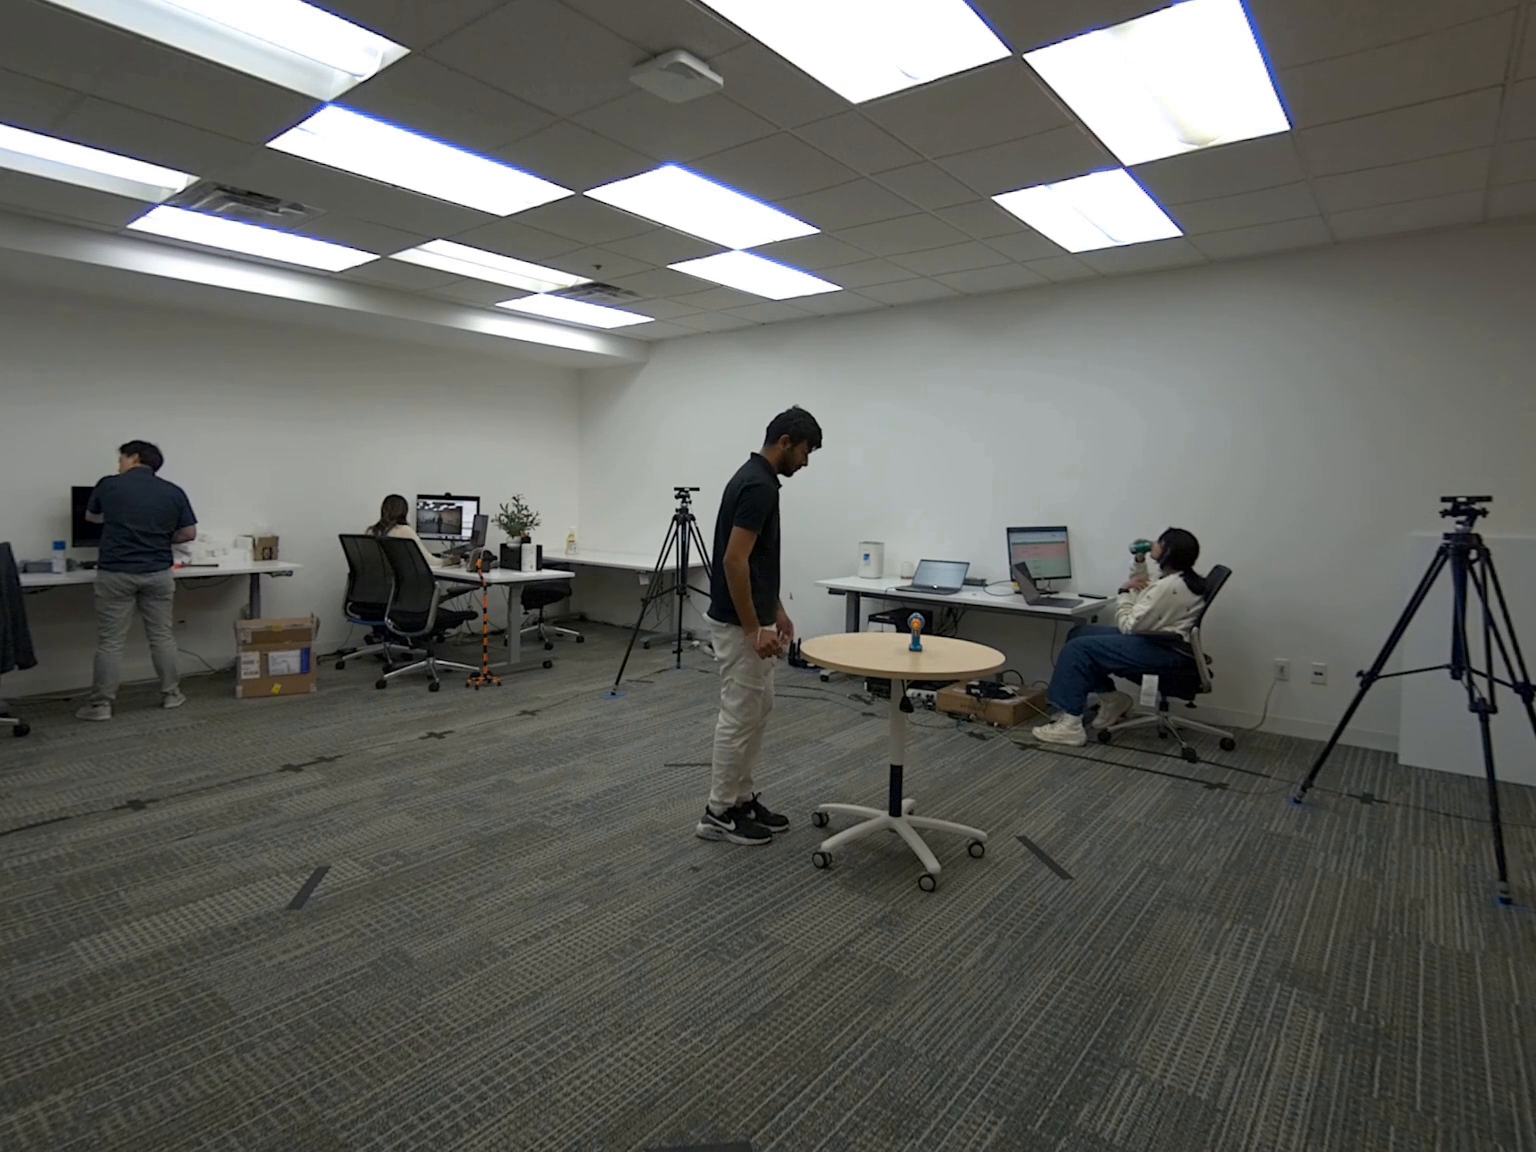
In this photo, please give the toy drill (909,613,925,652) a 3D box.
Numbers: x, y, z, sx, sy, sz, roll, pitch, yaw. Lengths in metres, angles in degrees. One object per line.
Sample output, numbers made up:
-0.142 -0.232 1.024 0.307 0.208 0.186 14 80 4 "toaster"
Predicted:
0.559 0.214 3.235 0.062 0.145 0.169 0 5 6 "toy drill"
